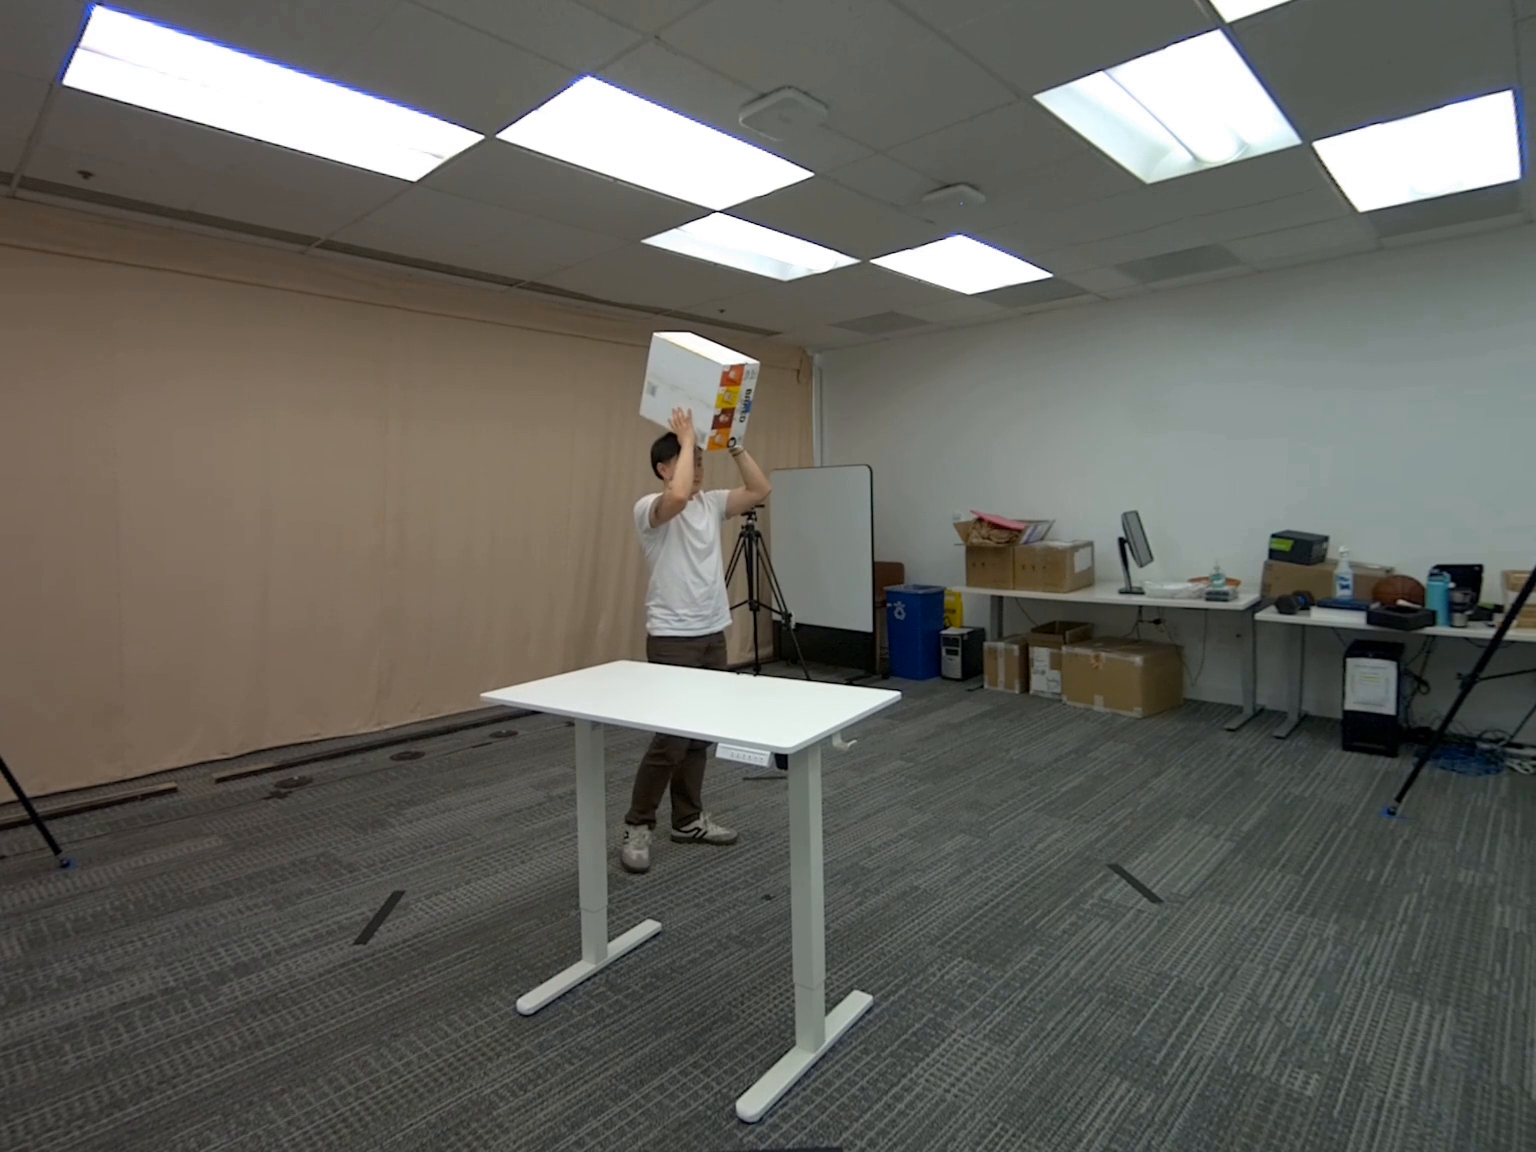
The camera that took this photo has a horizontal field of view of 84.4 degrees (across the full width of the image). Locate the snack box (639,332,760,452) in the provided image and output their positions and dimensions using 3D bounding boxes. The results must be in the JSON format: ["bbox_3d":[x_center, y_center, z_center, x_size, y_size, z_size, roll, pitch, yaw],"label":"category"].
[{"bbox_3d":[-0.275,-0.729,3.302,0.419,0.337,0.200,32,30,33],"label":"snack box"}]
